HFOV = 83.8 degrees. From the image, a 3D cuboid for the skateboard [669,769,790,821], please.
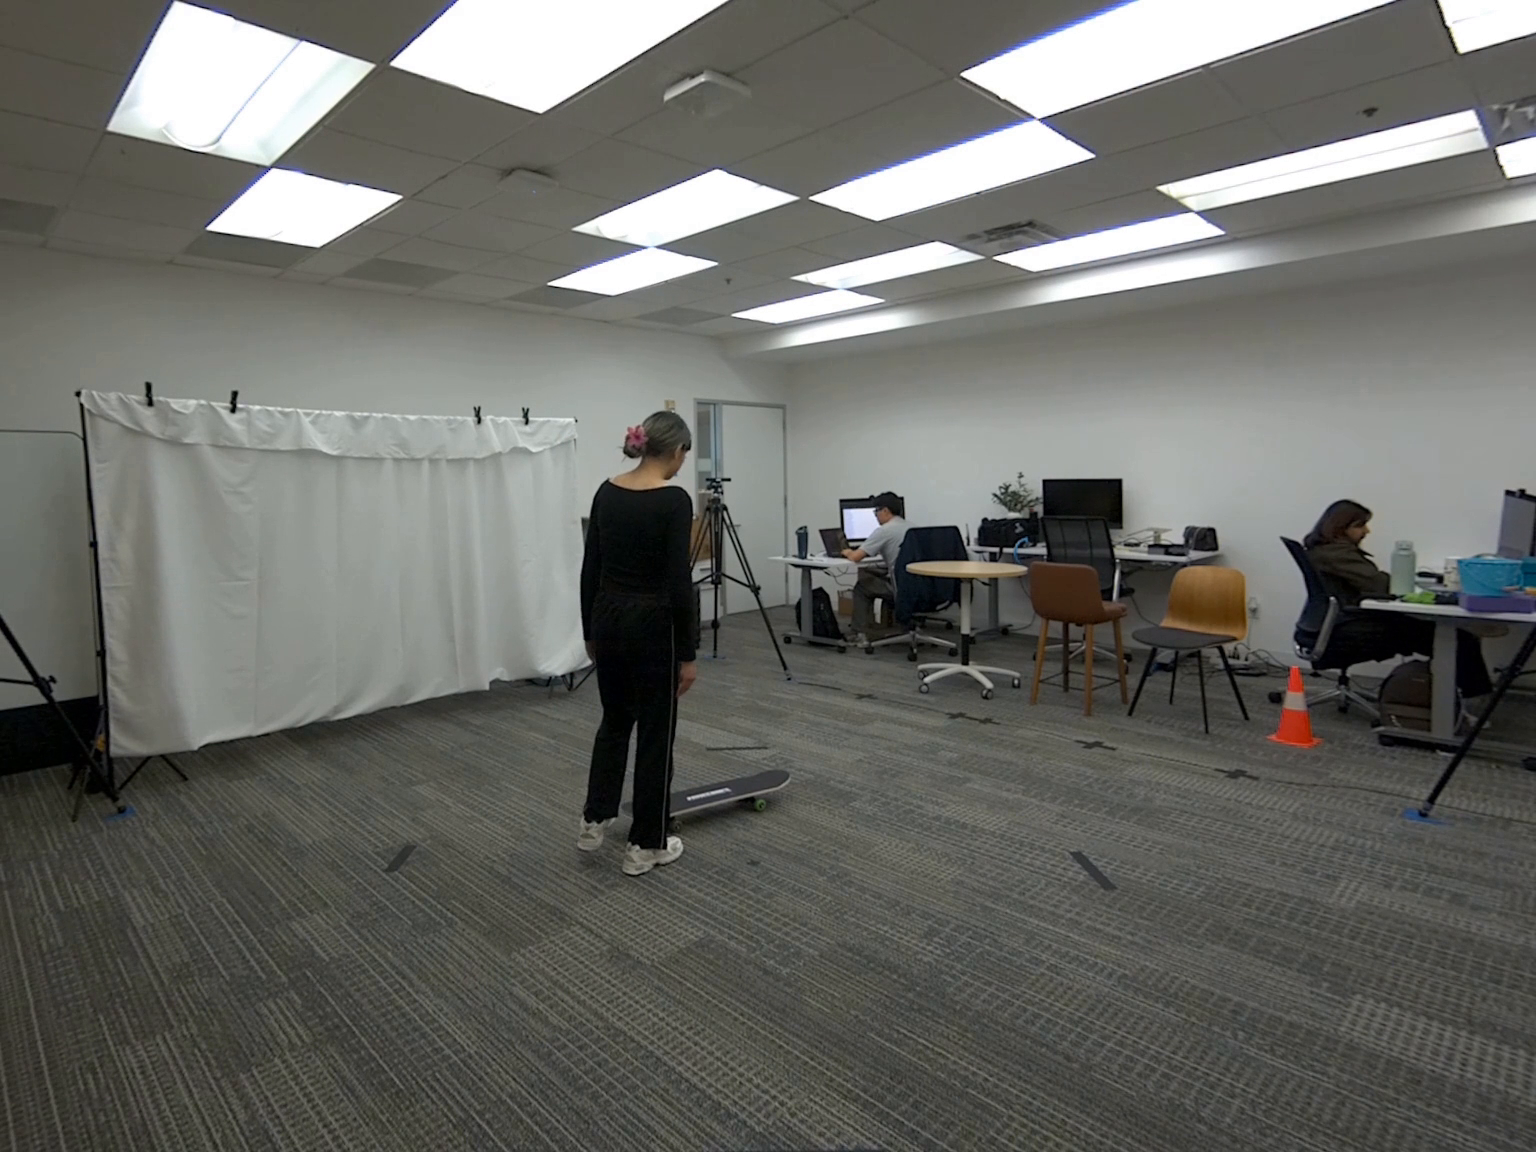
[{"bbox_3d":[-0.247,0.938,3.556,0.767,0.110,0.199,-5,7,-31],"label":"skateboard"}]
